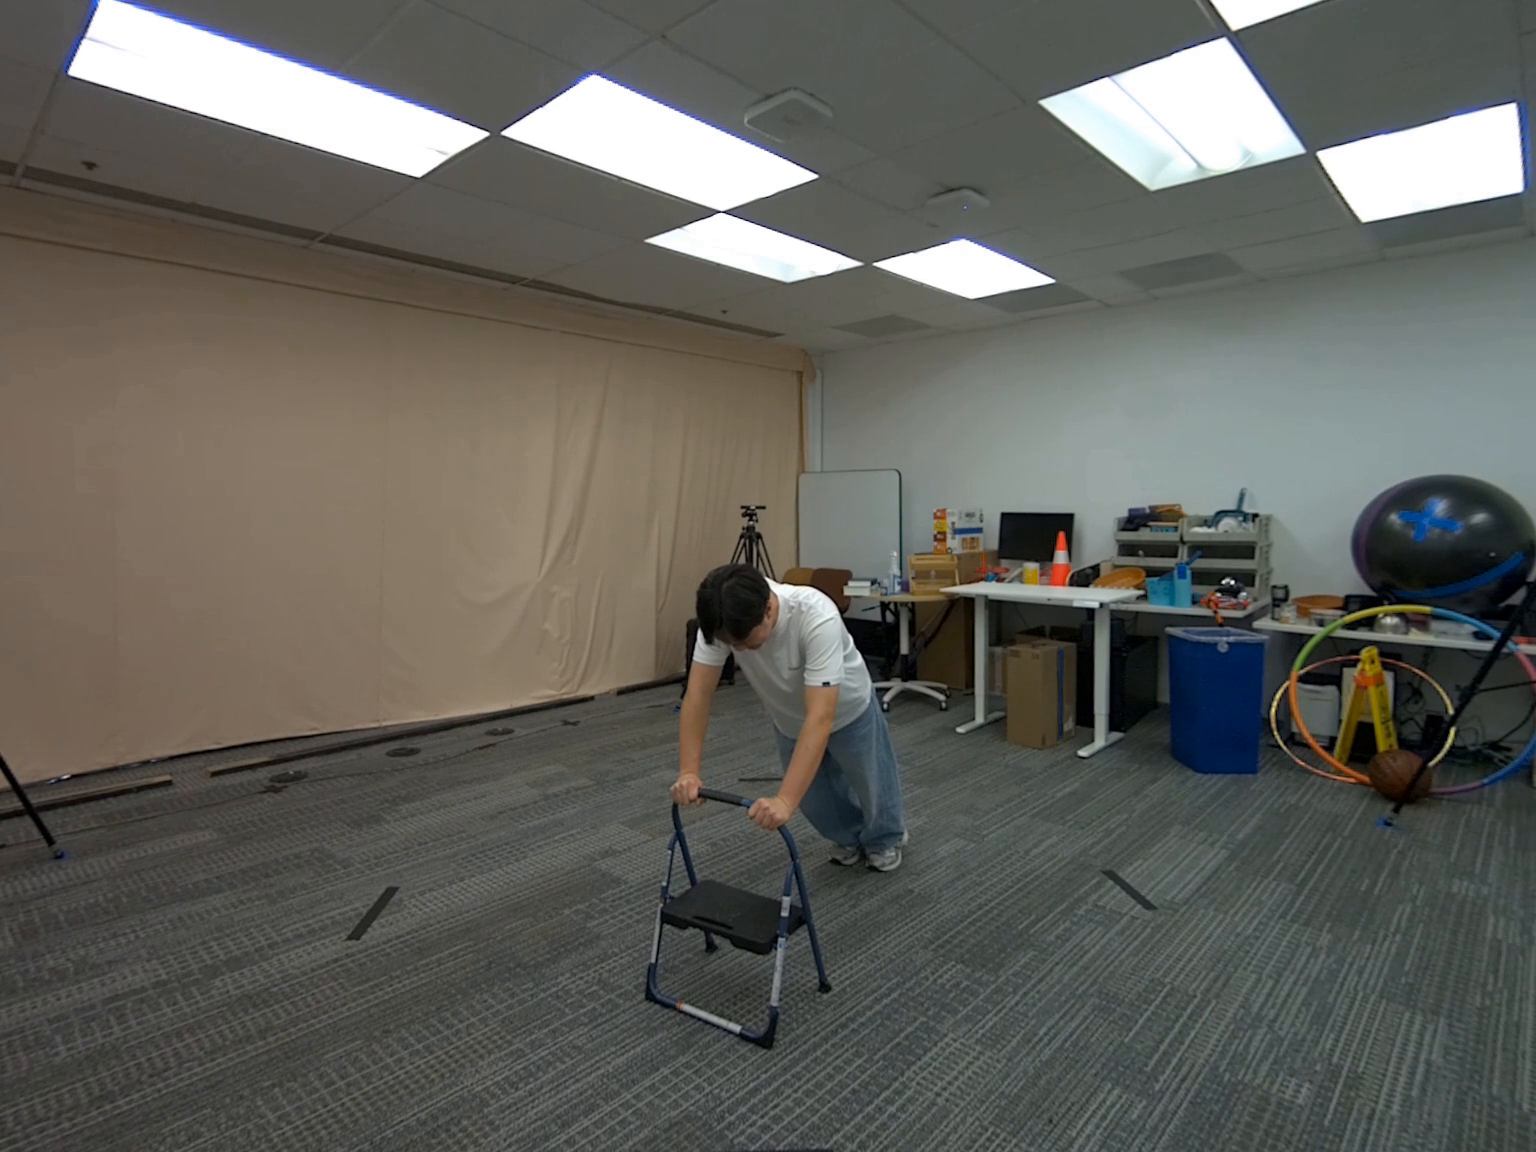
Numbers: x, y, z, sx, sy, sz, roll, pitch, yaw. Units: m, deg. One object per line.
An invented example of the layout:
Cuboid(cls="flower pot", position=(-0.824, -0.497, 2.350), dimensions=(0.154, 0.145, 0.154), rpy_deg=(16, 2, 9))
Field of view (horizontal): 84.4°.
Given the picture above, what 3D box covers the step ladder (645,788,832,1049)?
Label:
Cuboid(cls="step ladder", position=(-0.088, 0.892, 2.385), dimensions=(0.443, 0.604, 0.340), rpy_deg=(2, 4, 31))
